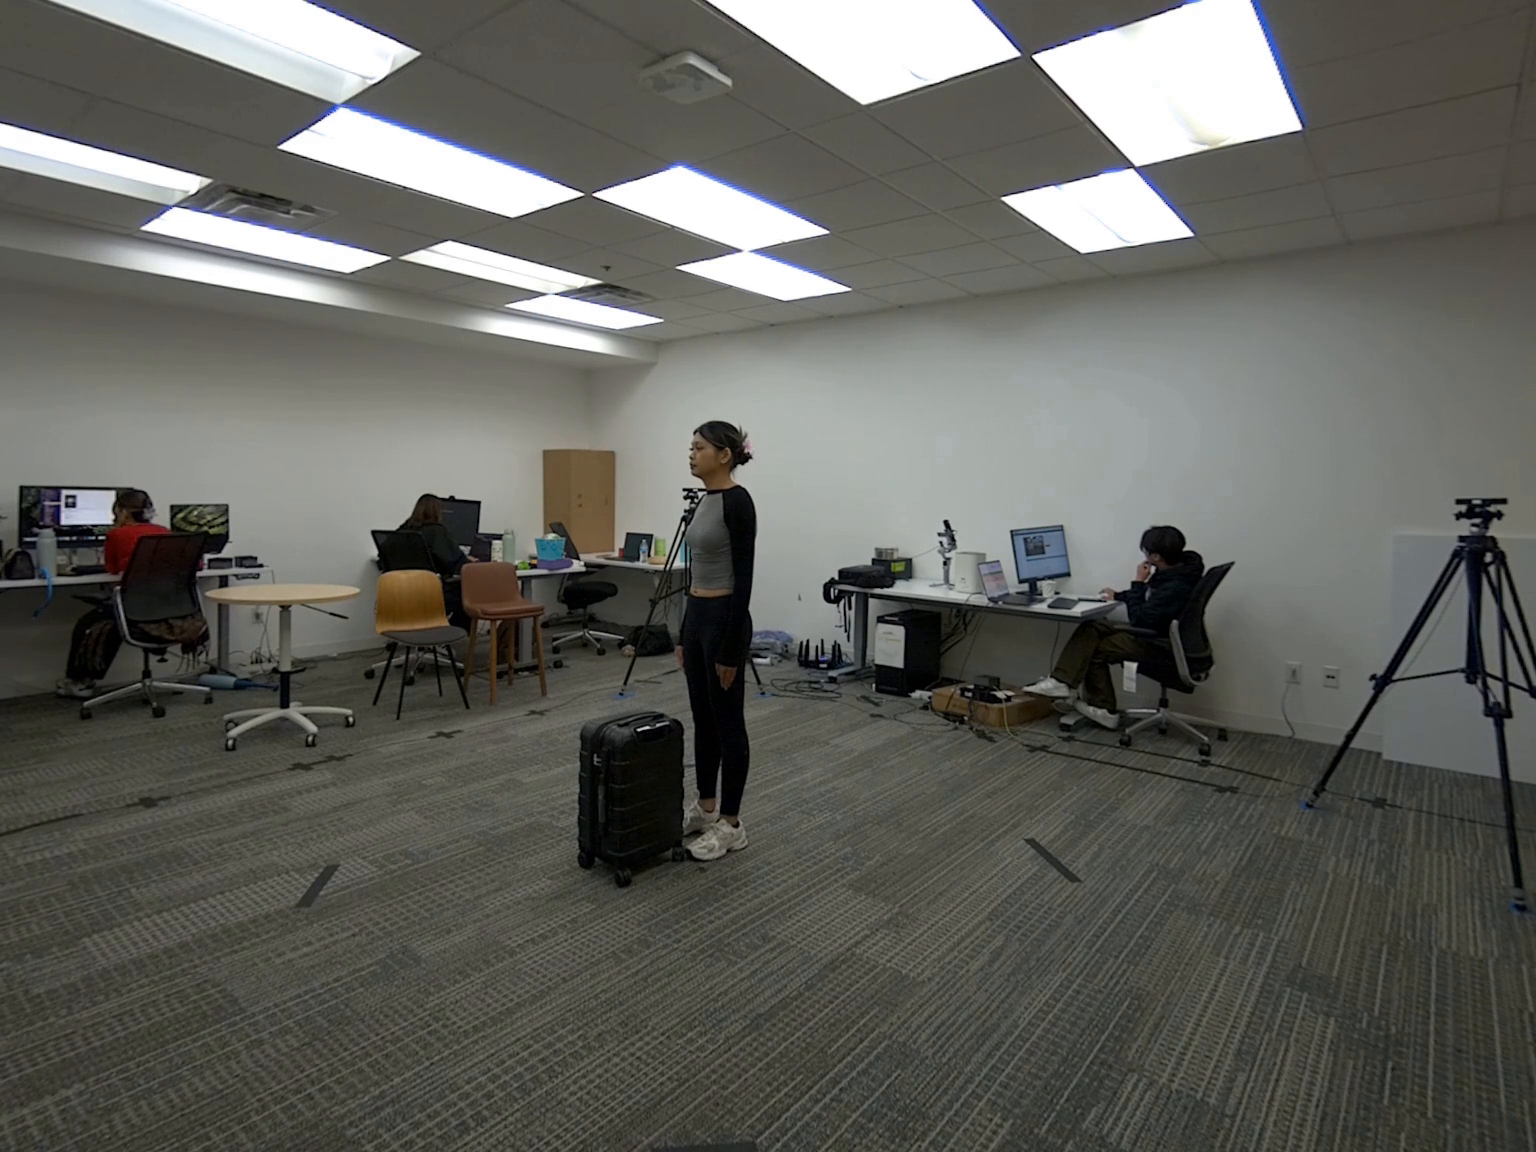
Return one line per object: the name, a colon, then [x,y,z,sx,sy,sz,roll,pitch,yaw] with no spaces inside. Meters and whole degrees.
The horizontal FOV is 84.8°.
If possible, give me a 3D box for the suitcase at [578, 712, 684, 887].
suitcase: [-0.521,0.785,3.149,0.256,0.549,0.364,1,2,40]
